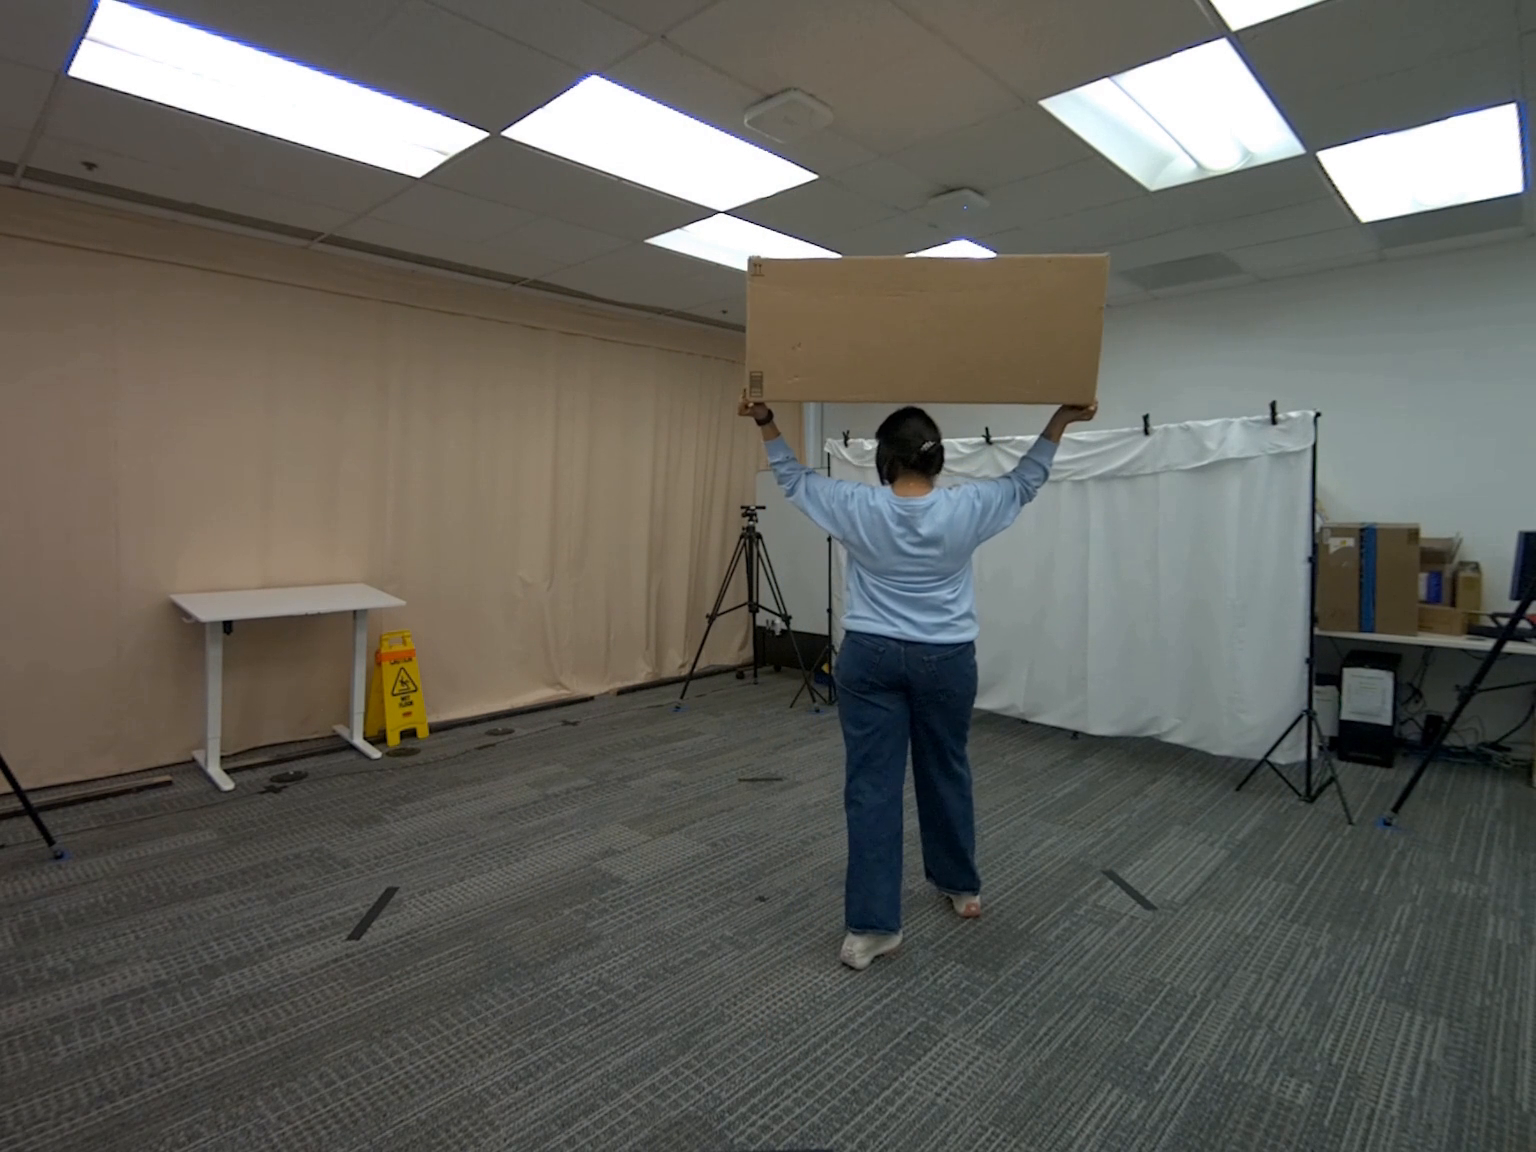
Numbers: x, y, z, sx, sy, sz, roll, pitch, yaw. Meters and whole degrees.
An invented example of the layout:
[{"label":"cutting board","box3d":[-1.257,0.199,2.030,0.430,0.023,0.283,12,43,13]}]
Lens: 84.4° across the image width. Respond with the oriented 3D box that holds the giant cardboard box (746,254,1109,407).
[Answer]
[{"label":"giant cardboard box","box3d":[0.466,-0.792,2.726,1.032,0.422,0.579,2,16,5]}]
